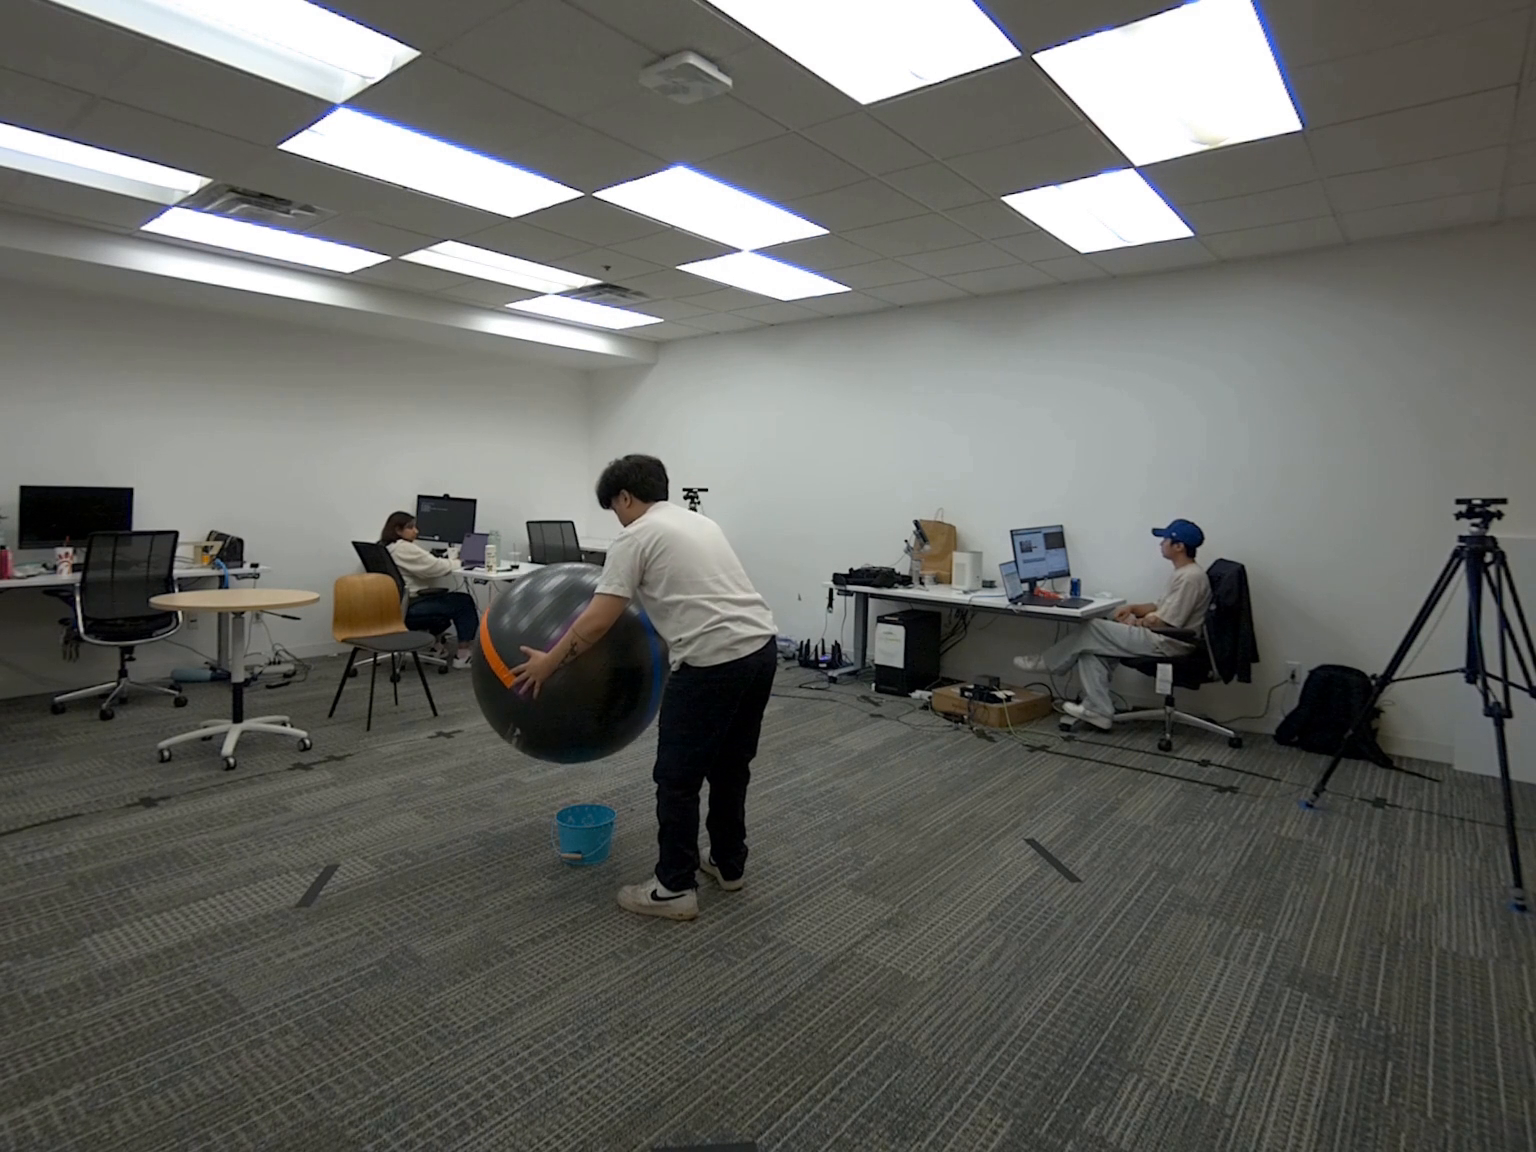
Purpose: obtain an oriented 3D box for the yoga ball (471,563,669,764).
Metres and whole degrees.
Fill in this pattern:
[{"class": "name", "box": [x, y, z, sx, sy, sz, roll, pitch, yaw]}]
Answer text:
[{"class": "yoga ball", "box": [-0.764, 0.330, 3.265, 0.757, 0.755, 0.762, 1, 4, -2]}]
